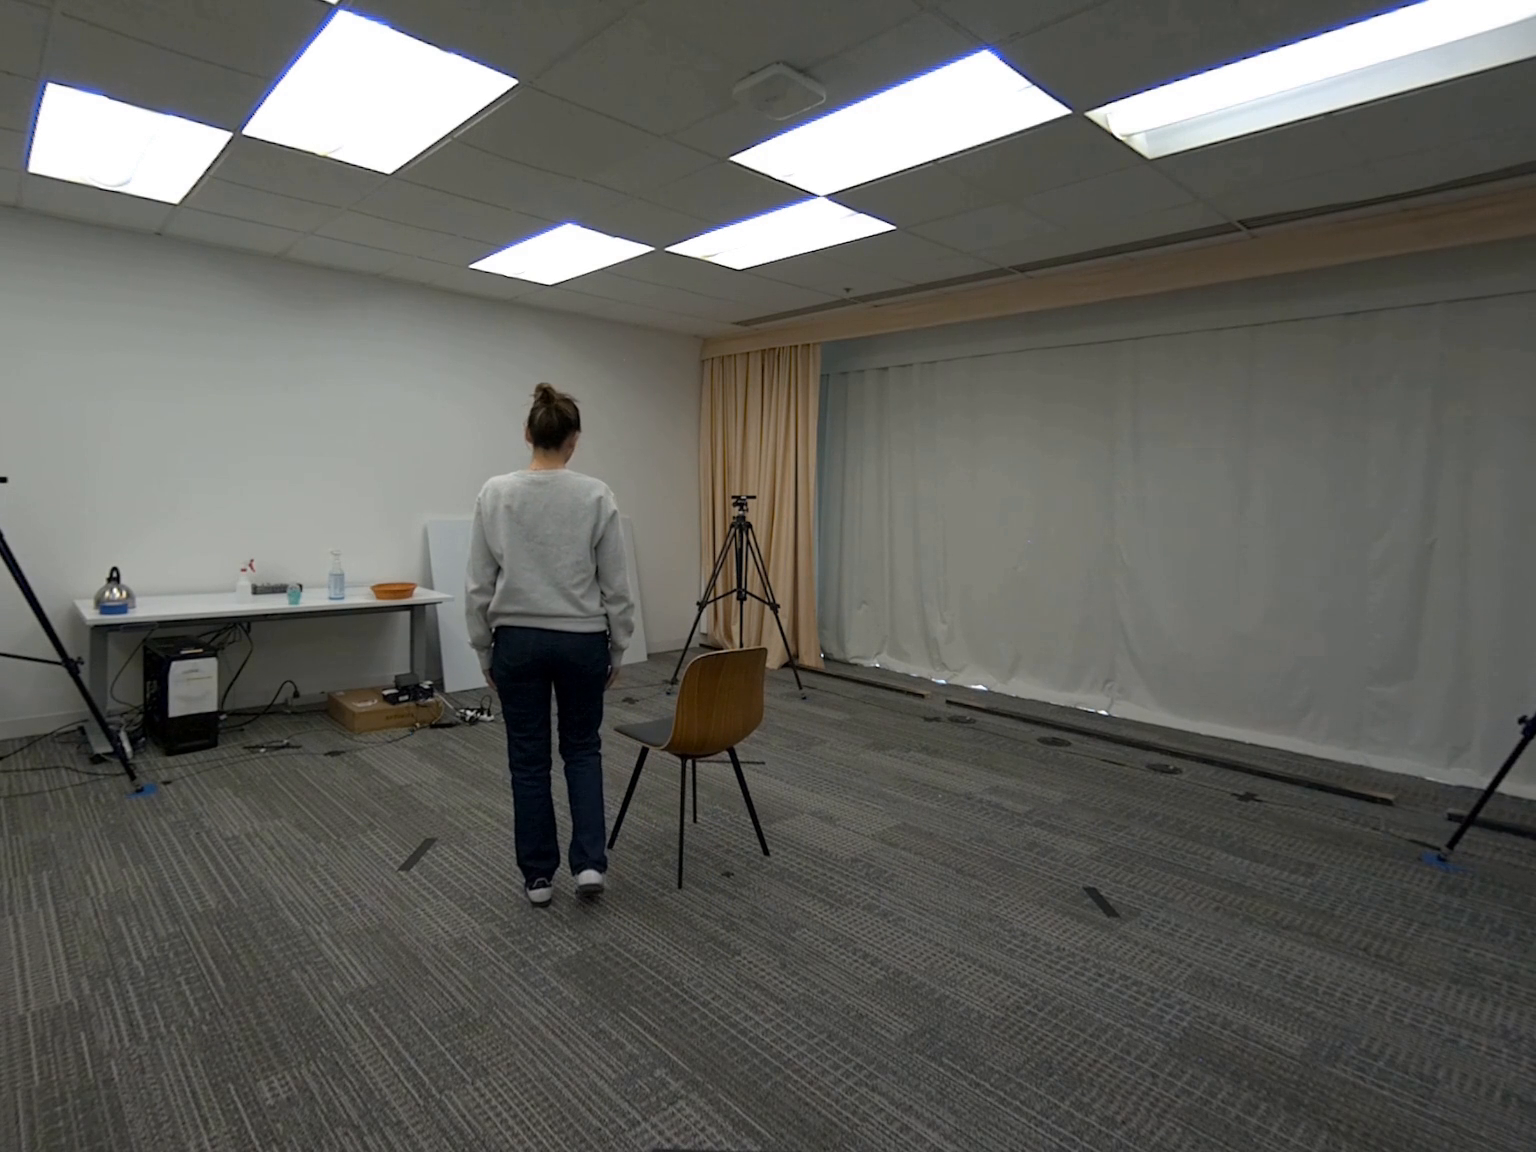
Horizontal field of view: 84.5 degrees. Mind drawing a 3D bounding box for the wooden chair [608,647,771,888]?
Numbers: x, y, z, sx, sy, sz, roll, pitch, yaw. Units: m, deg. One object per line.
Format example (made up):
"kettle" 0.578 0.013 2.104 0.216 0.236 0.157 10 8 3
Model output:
"wooden chair" -0.310 0.656 3.265 0.467 0.873 0.537 -2 9 -43
